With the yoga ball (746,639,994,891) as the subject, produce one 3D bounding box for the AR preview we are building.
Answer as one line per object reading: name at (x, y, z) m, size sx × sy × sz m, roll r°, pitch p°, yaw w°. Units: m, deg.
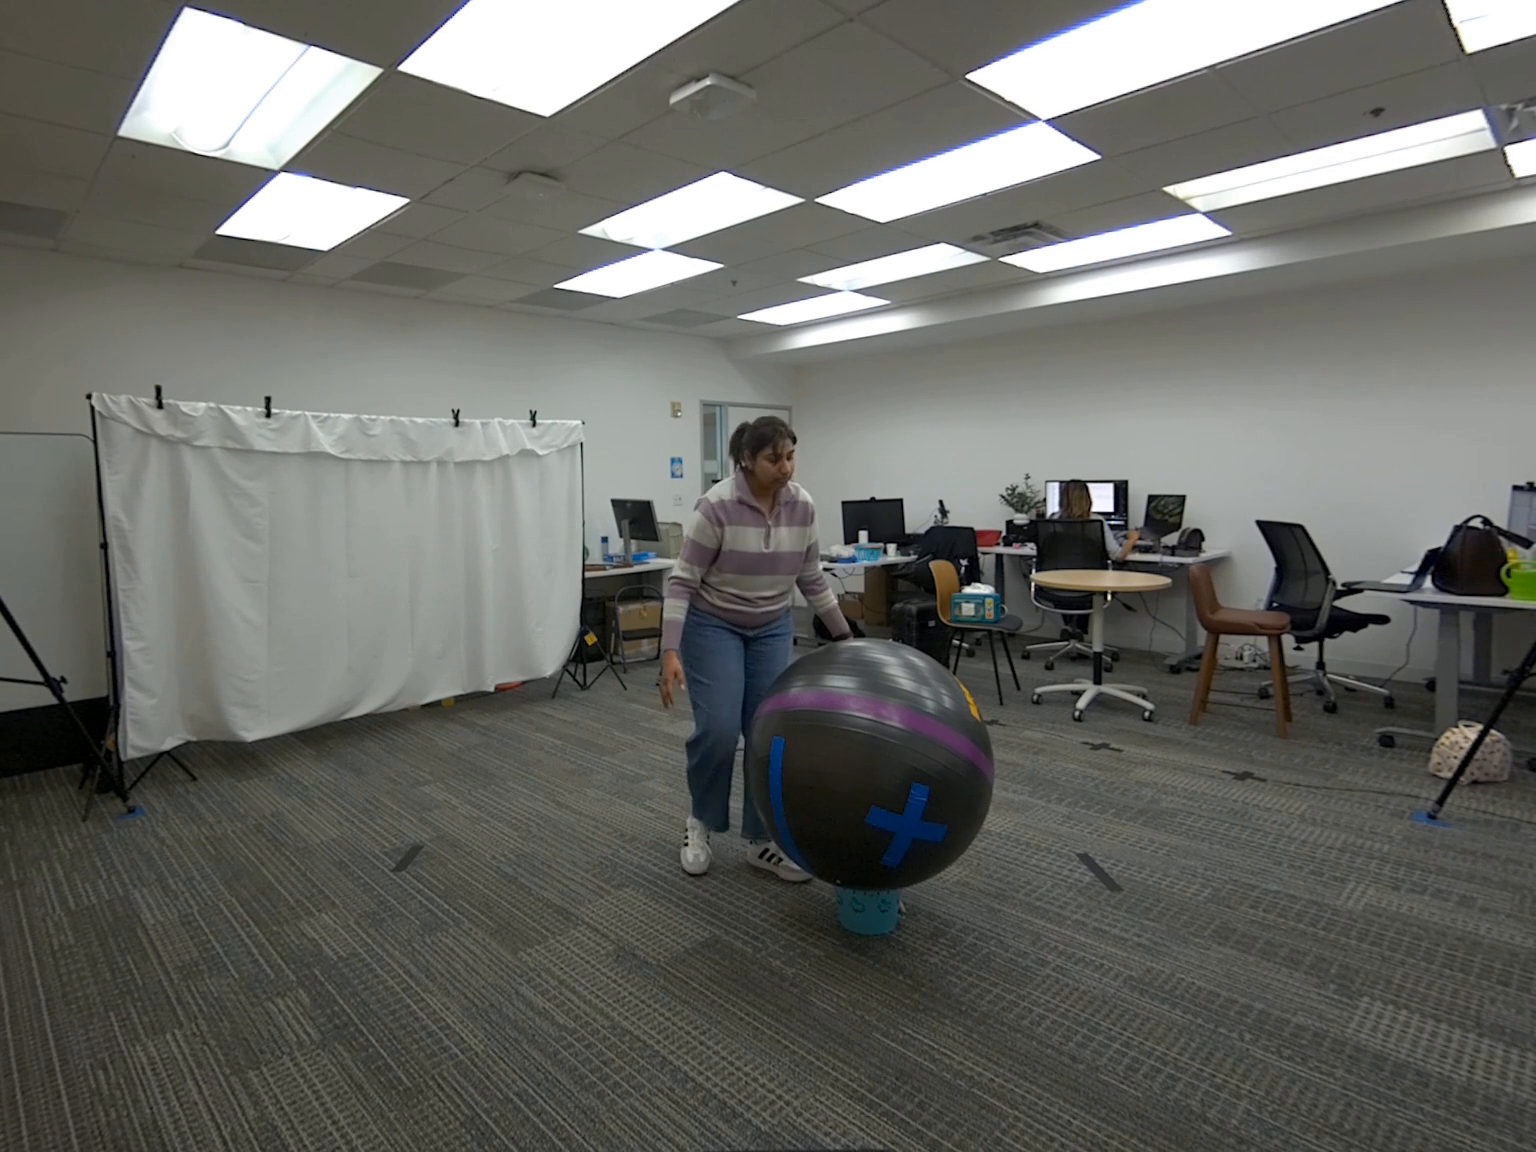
yoga ball at (0.324, 0.593, 2.652) m, size 0.757 × 0.755 × 0.762 m, roll -1°, pitch 5°, yaw -2°
